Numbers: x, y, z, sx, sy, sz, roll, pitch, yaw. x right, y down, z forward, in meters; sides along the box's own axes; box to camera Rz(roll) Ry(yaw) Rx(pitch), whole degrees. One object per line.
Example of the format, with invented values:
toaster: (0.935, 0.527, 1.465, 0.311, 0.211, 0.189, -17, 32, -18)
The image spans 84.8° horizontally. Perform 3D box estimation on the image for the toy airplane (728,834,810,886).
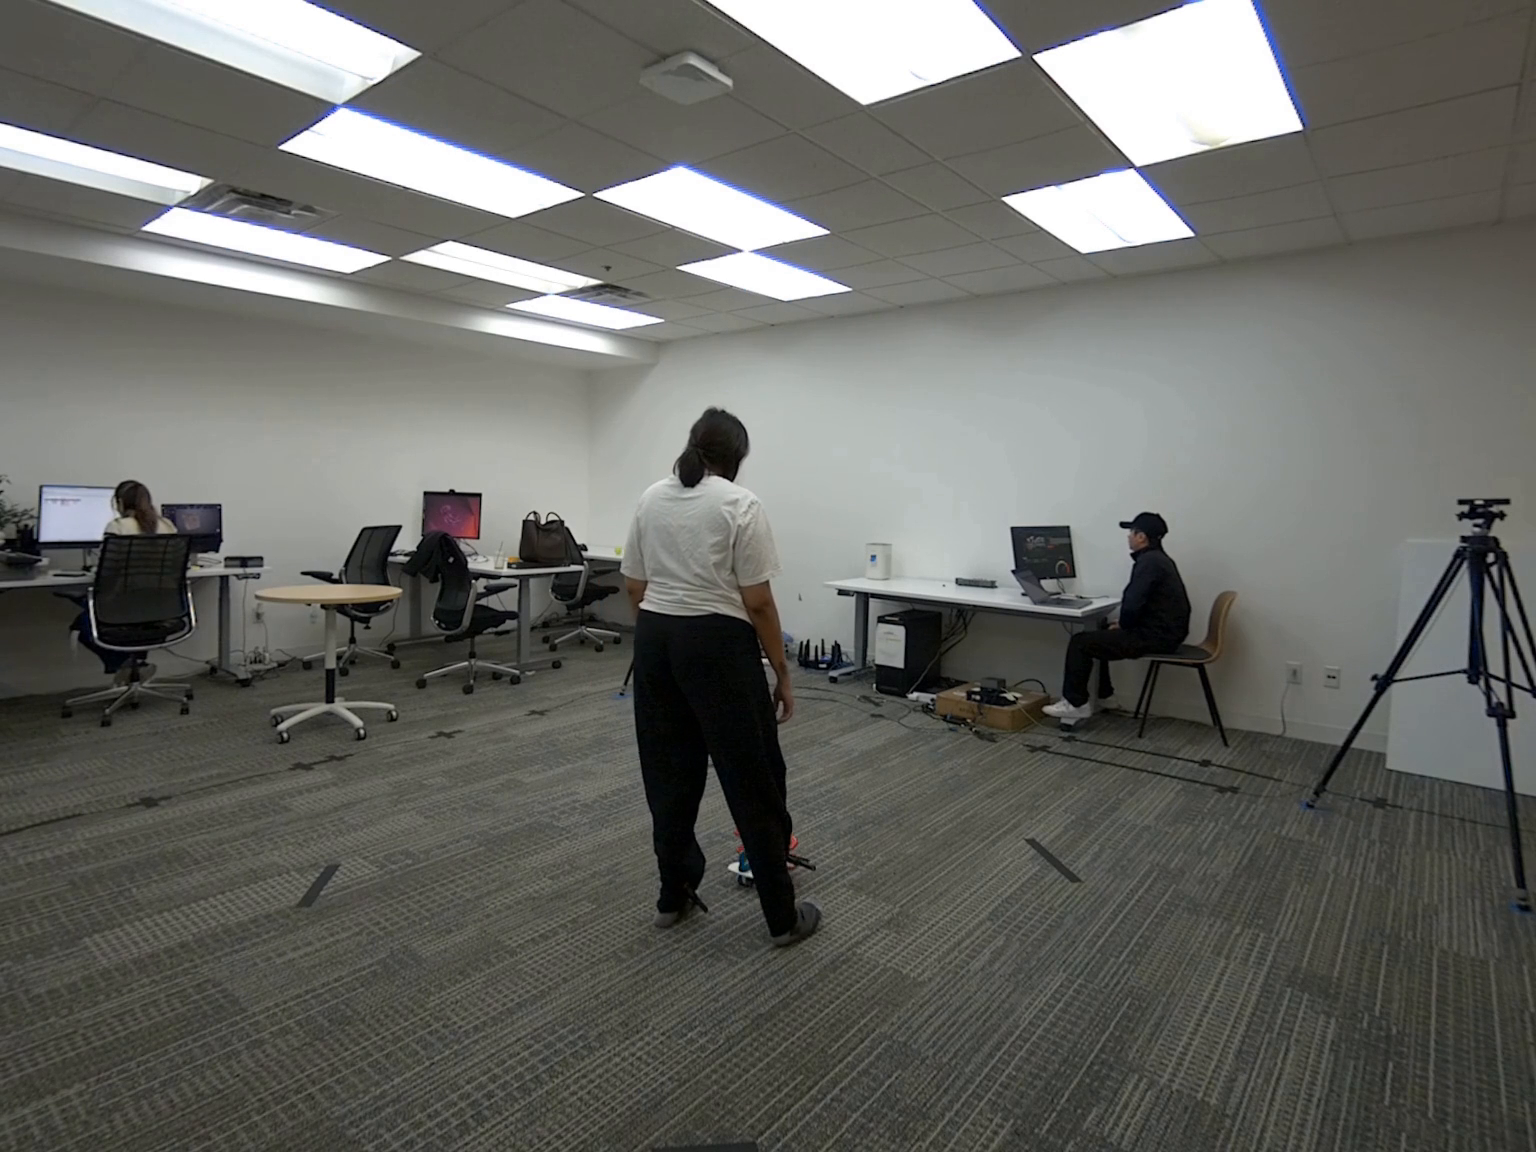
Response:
toy airplane: (-0.015, 0.998, 3.050, 0.253, 0.156, 0.258, 3, 4, 7)
